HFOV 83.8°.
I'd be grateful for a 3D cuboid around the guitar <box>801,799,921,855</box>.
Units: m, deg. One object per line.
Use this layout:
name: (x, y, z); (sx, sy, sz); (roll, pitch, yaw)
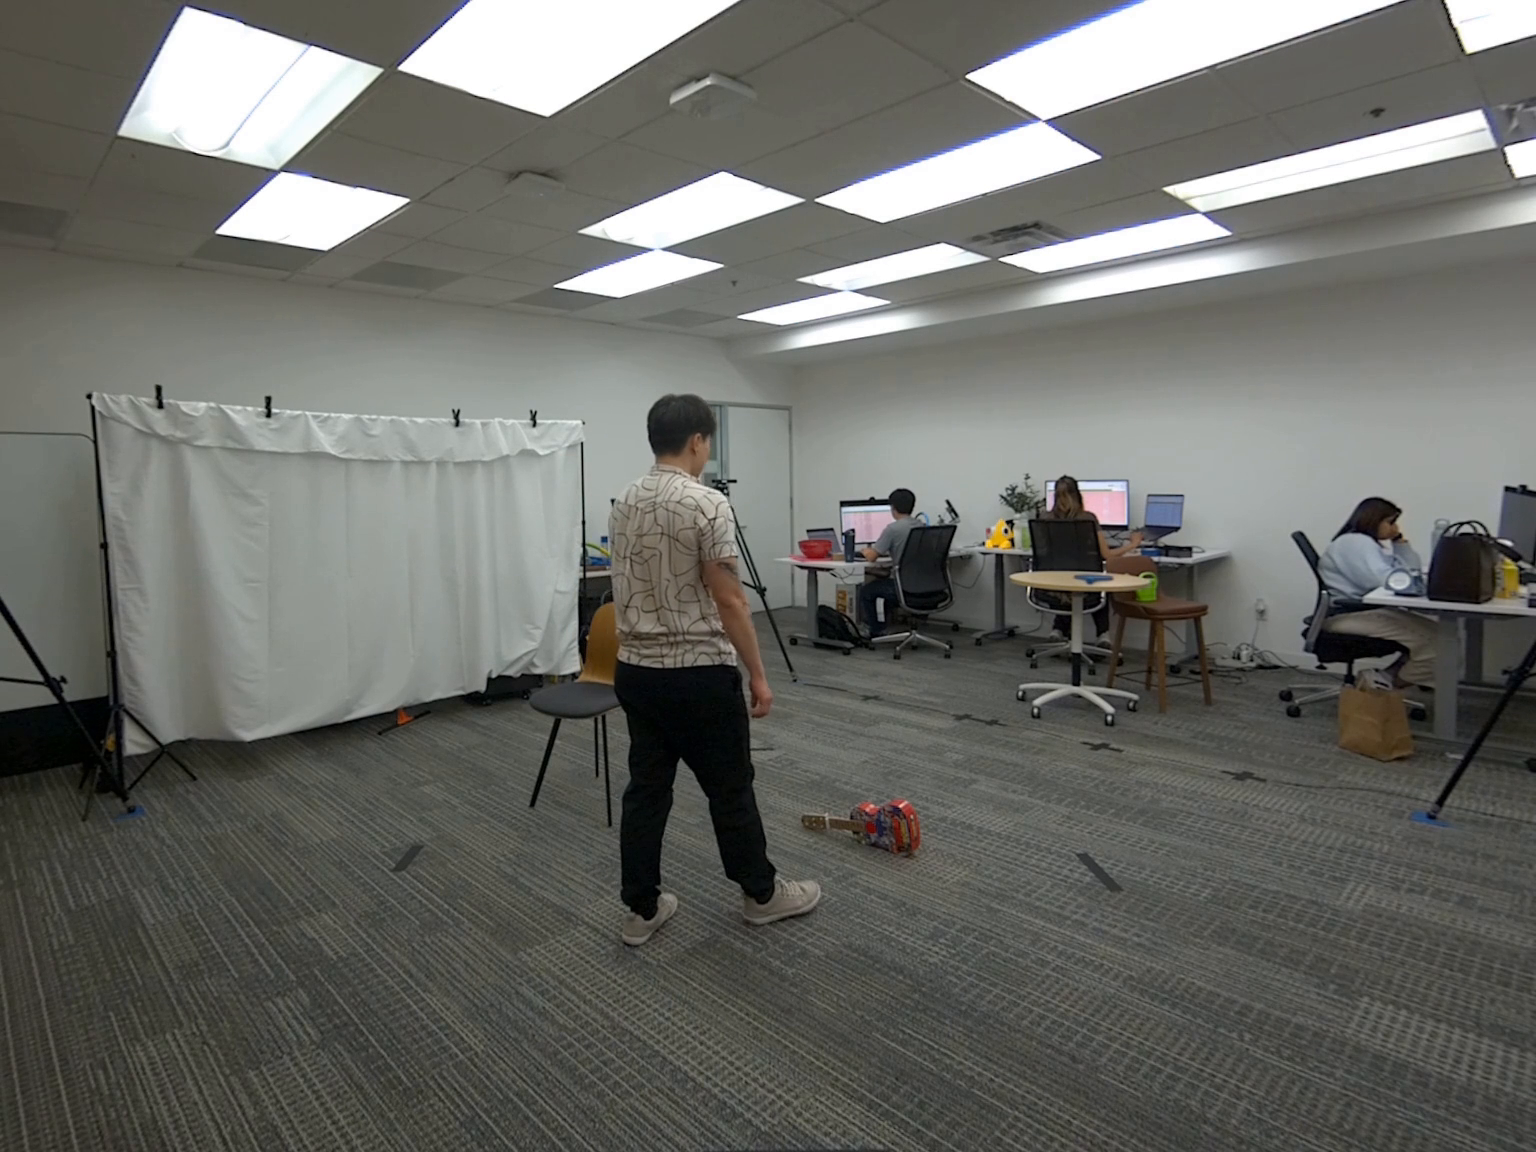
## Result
guitar: (0.346, 0.929, 3.286); (0.513, 0.191, 0.069); (3, 10, 40)
